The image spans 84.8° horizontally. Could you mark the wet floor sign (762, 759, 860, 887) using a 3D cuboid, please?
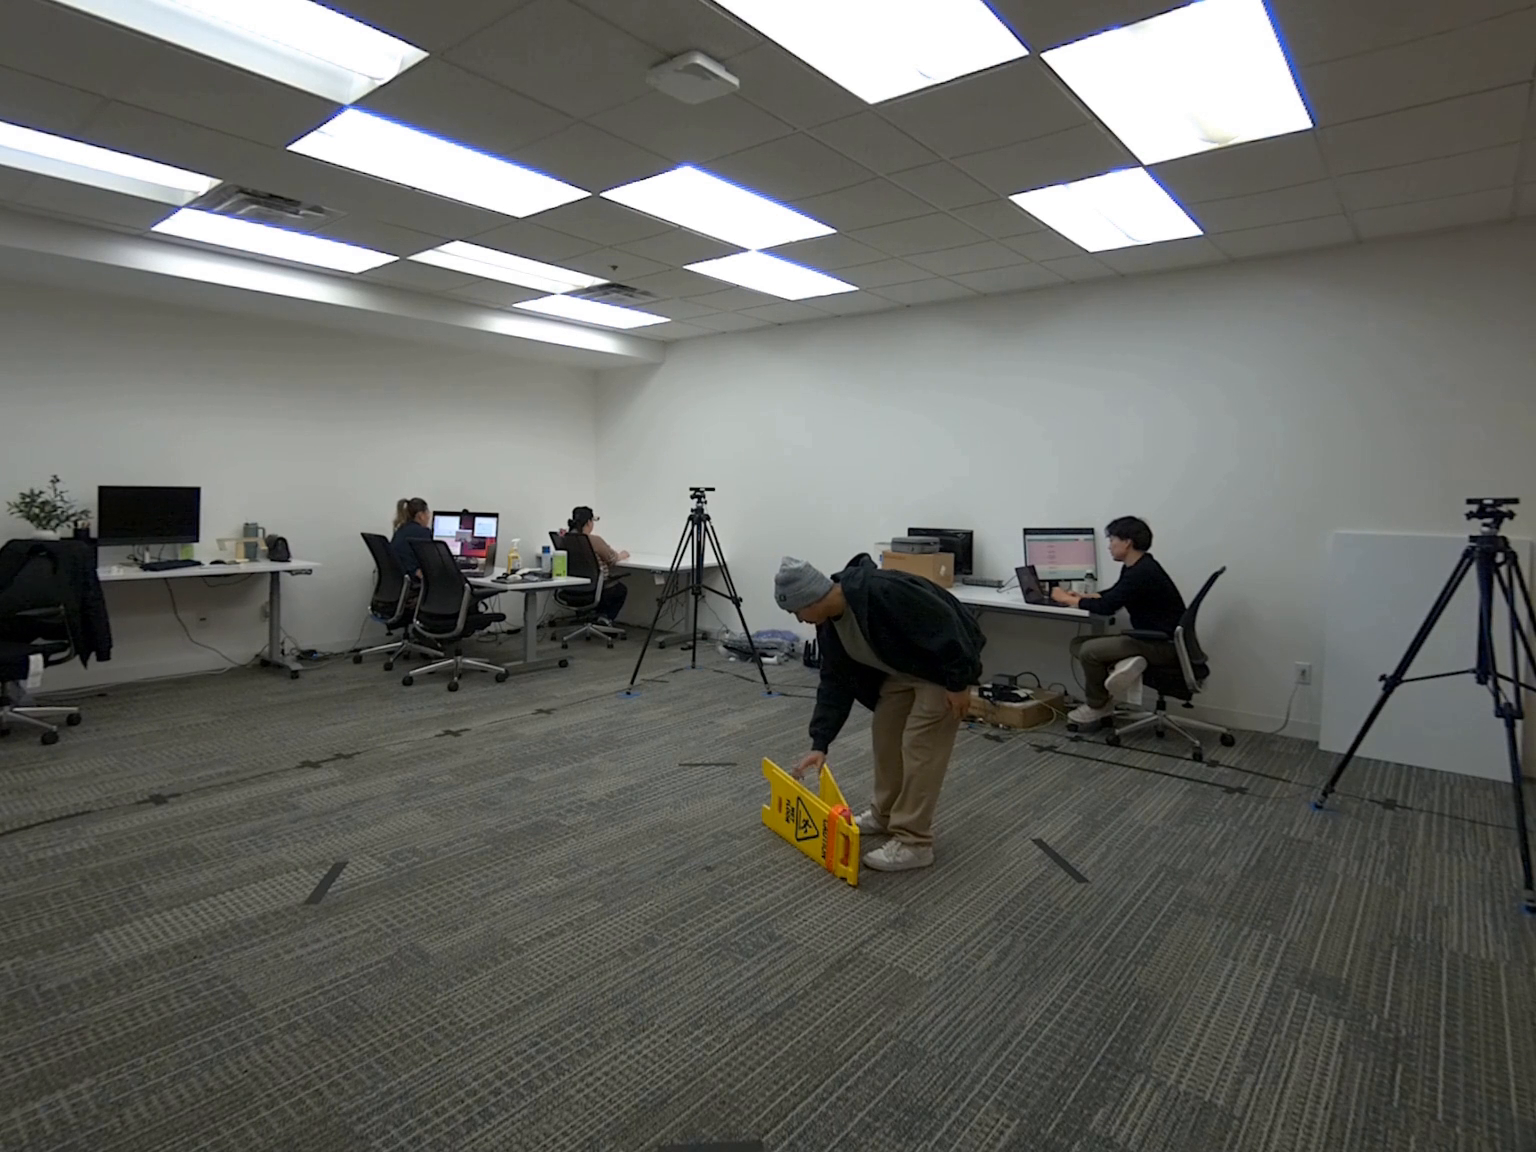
[{"bbox_3d":[0.202,0.931,3.276,0.284,0.280,0.662,0,9,-19],"label":"wet floor sign"}]
